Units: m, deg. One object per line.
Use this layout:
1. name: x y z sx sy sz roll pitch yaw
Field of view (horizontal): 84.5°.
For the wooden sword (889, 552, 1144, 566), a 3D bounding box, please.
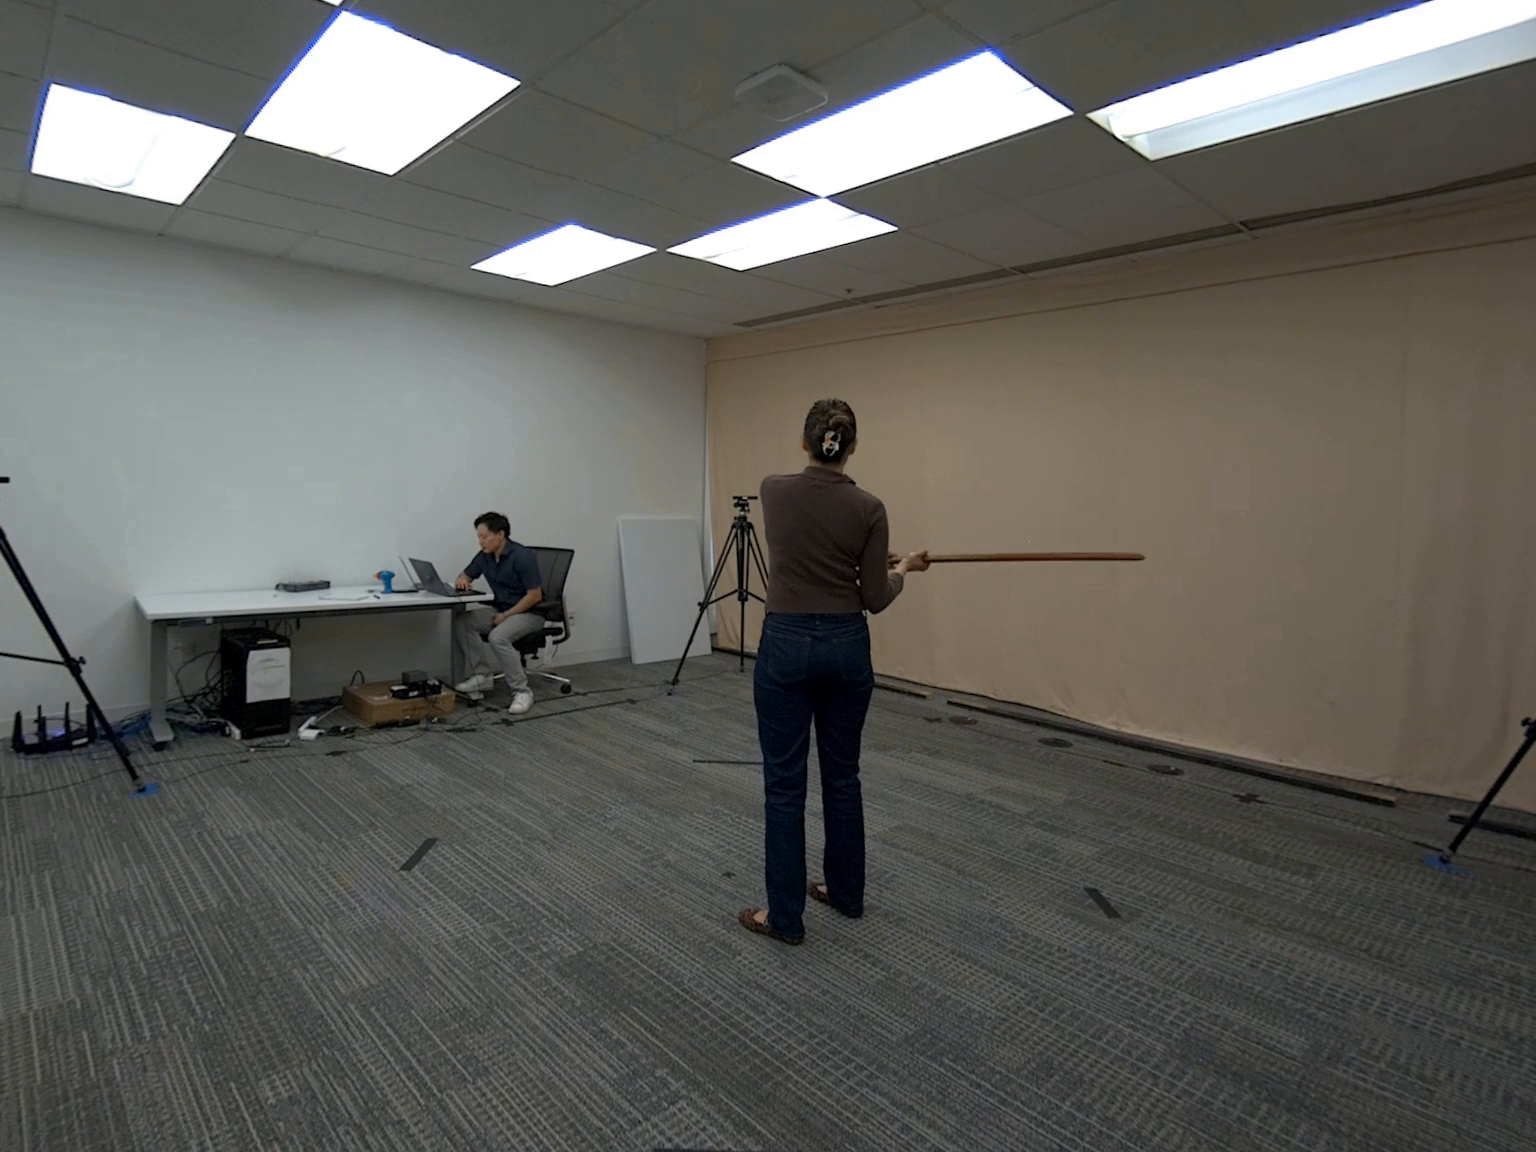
1. wooden sword: 0.700 -0.060 2.726 0.050 0.024 1.048 42 -23 -31
